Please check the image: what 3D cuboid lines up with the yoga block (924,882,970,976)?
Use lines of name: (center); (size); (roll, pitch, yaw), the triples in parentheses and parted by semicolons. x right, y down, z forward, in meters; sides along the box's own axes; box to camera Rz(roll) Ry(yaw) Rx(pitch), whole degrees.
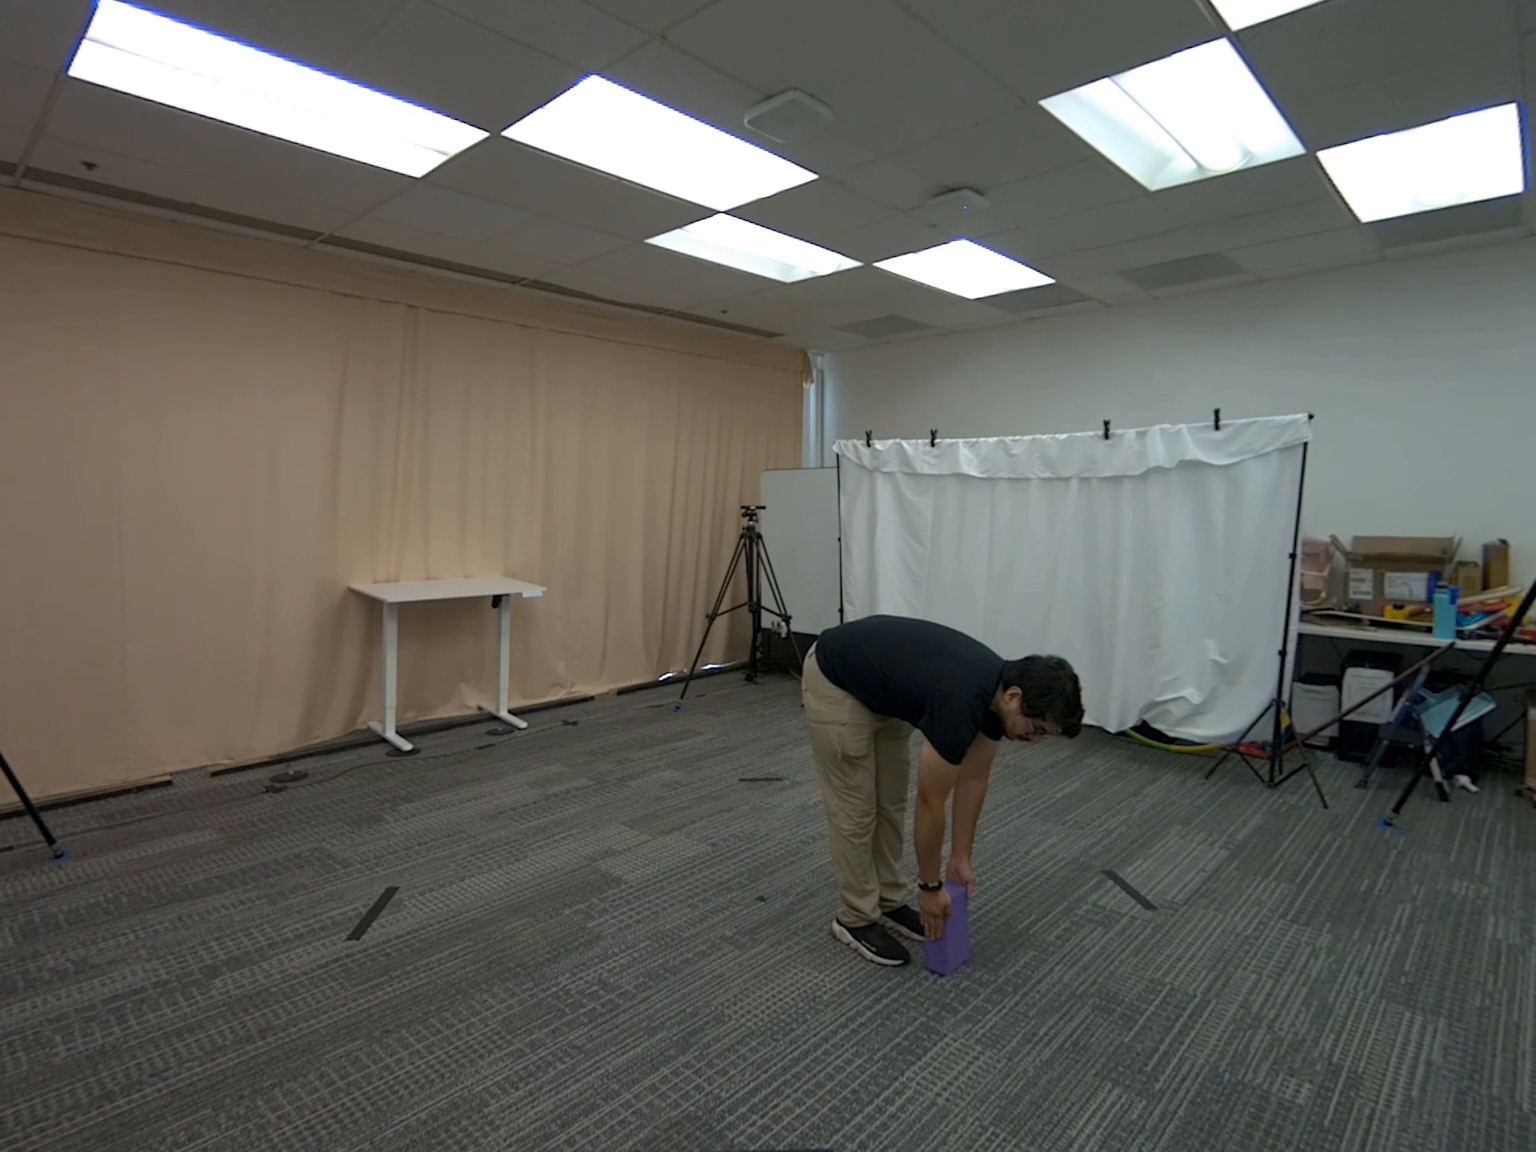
yoga block: (0.551, 1.068, 2.546); (0.144, 0.229, 0.079); (-3, 6, -43)
